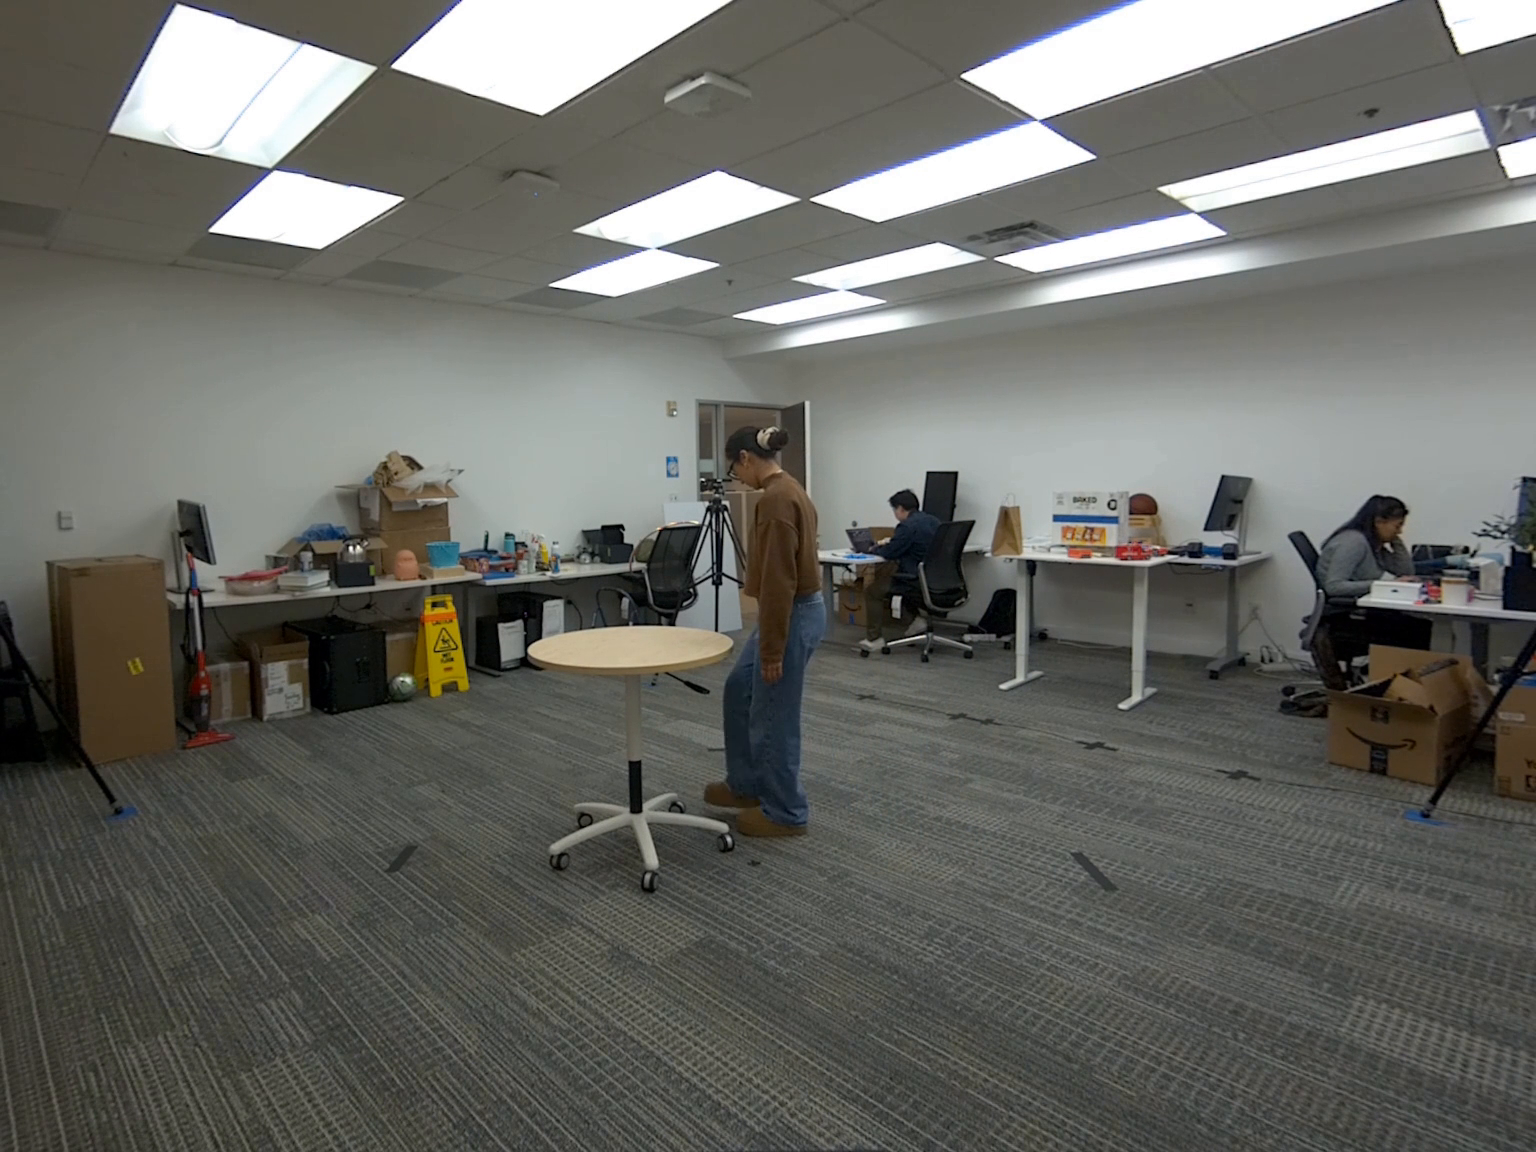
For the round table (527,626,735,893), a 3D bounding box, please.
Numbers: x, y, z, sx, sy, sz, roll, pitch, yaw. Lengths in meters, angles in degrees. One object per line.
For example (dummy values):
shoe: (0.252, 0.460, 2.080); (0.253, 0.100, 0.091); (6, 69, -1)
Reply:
round table: (-0.499, 0.650, 3.230); (0.763, 0.791, 0.768); (-1, 5, -2)
